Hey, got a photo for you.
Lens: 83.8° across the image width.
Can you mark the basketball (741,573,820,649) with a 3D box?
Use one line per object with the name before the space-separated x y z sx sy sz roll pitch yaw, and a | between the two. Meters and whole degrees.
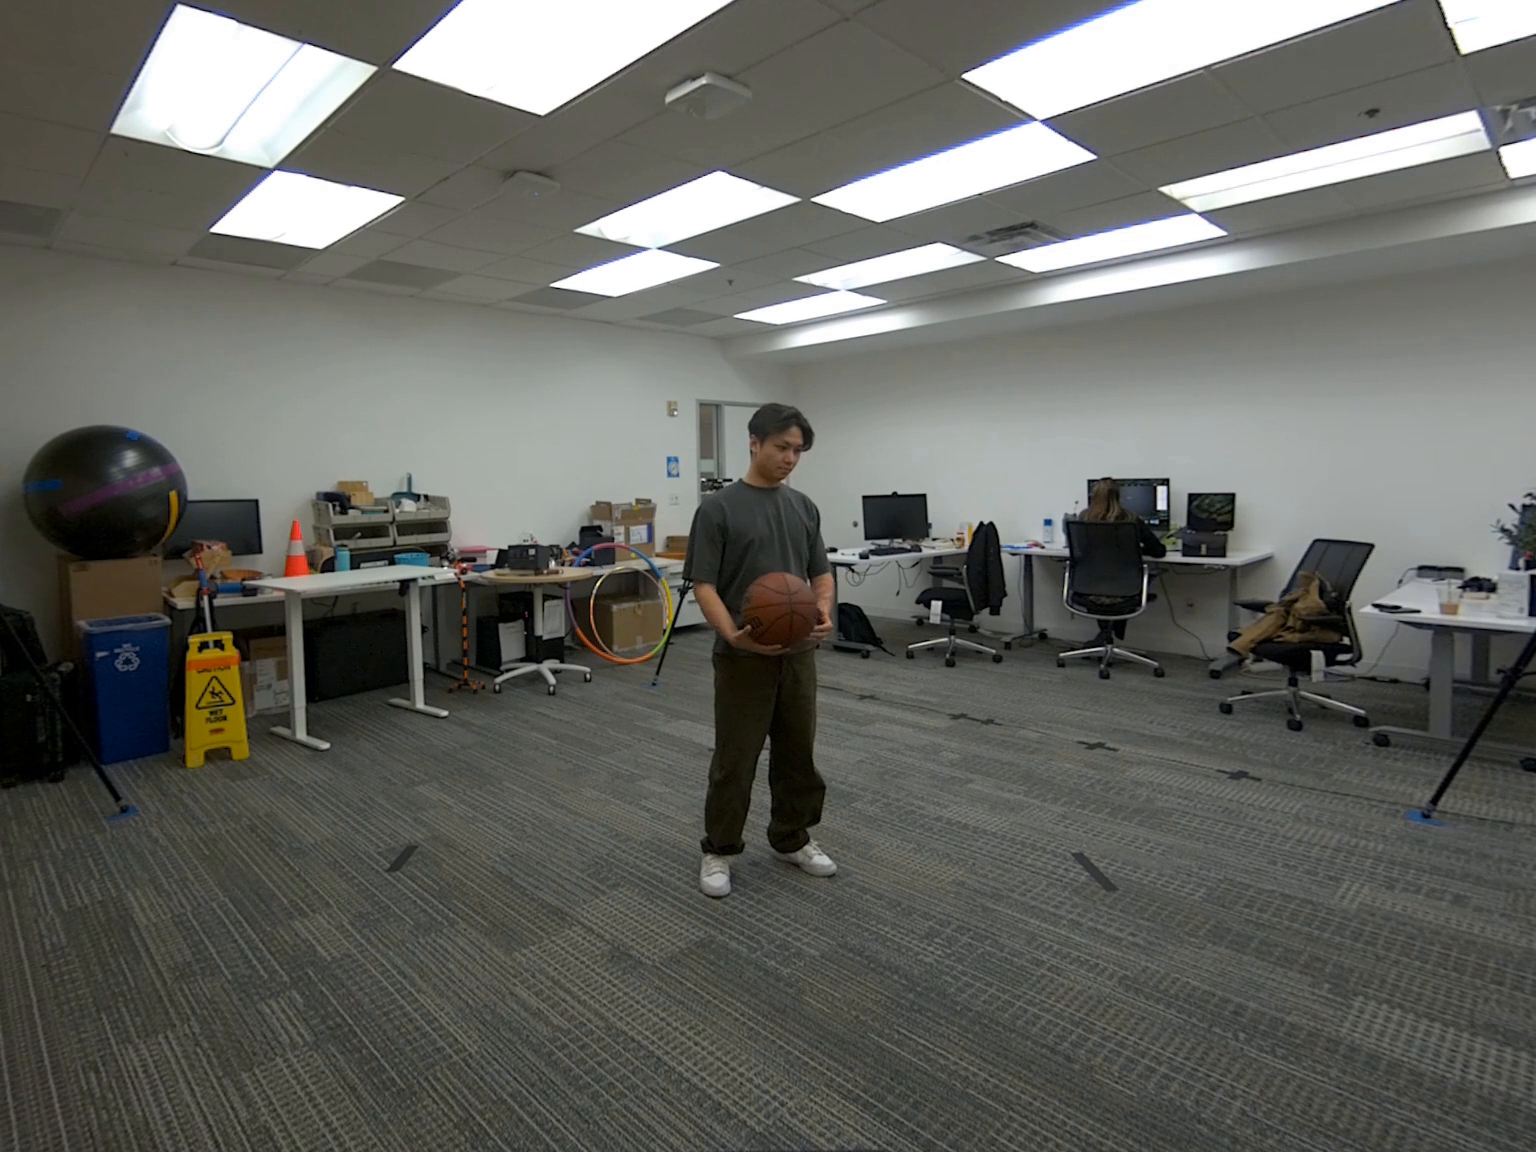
basketball | 0.031 0.108 2.683 0.236 0.235 0.237 -1 5 -2
